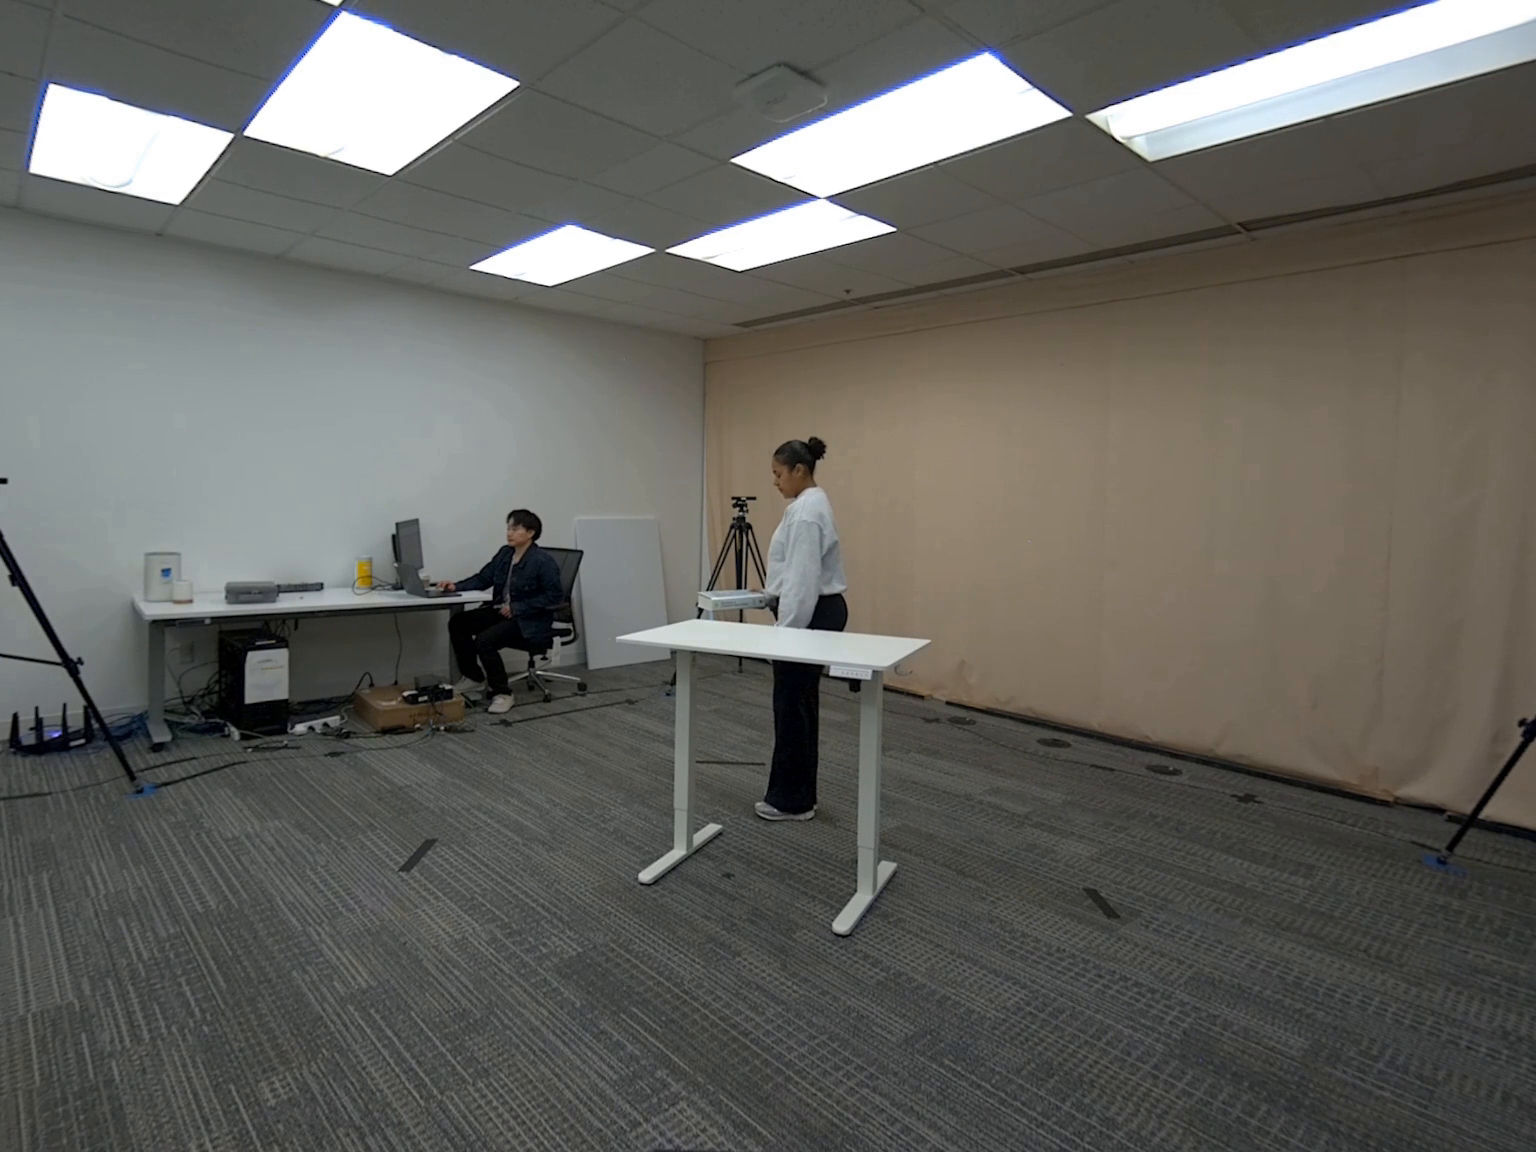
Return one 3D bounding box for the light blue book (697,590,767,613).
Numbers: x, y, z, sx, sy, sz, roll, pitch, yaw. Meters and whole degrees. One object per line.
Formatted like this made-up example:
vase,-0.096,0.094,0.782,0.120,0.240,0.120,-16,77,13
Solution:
light blue book,-0.172,0.116,3.830,0.257,0.059,0.195,-3,7,-22
